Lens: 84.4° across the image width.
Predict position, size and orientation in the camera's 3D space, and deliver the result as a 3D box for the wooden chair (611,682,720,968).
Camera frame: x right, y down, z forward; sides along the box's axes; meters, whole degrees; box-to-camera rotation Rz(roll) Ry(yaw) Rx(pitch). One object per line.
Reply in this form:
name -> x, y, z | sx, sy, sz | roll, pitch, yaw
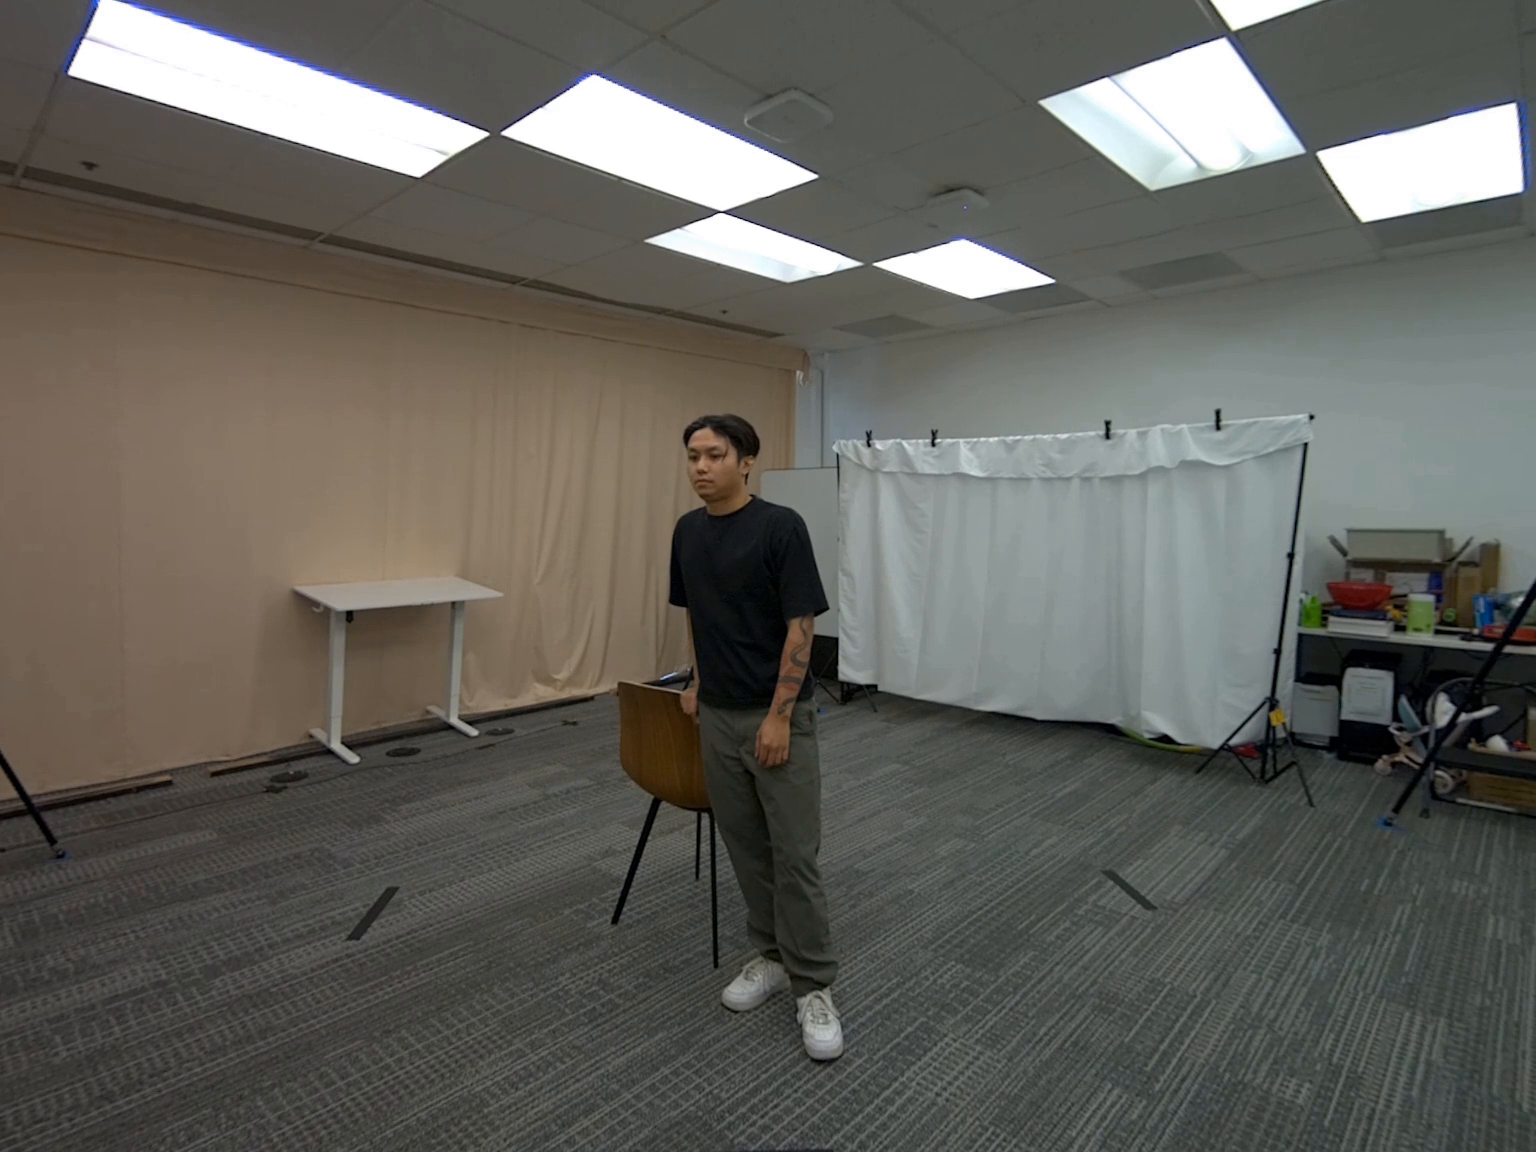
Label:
wooden chair -> -0.210, 0.732, 2.829 | 0.493, 0.874, 0.509 | 2, 8, 37
